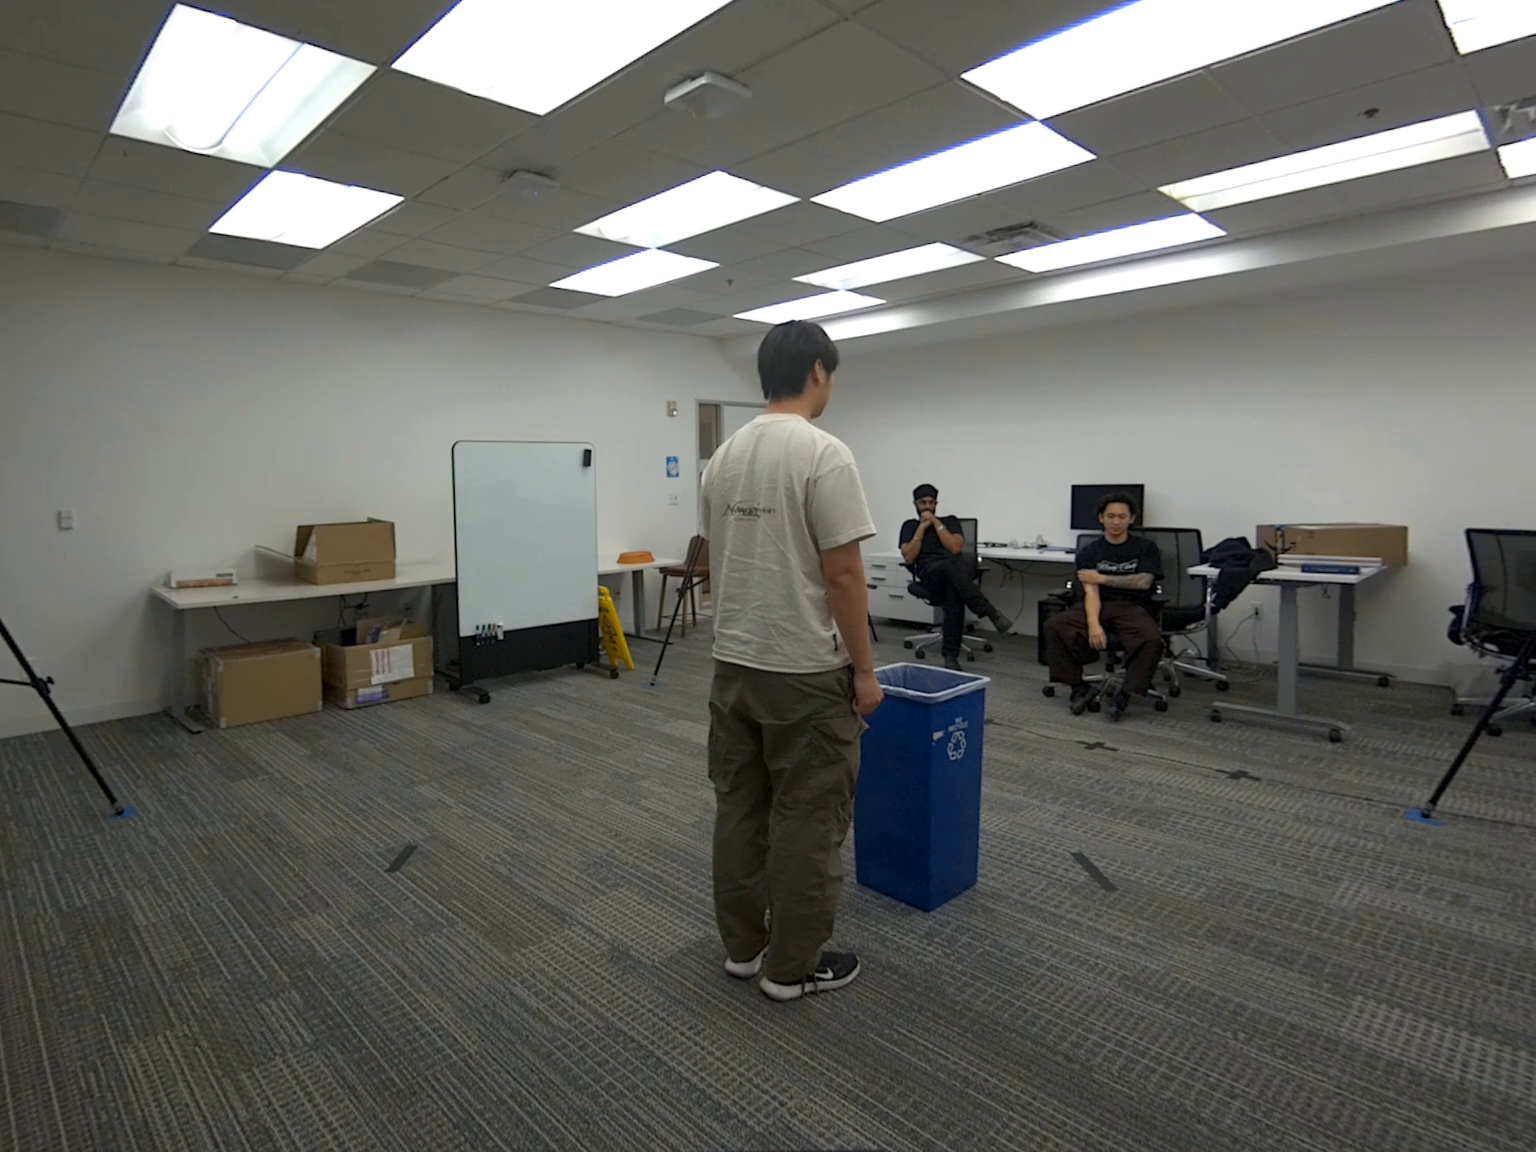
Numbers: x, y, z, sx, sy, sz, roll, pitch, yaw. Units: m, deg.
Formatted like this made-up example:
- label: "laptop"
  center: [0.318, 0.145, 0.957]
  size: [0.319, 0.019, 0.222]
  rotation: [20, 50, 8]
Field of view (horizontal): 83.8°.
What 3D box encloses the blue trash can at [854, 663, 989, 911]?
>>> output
- label: "blue trash can"
  center: [0.513, 0.699, 2.923]
  size: [0.364, 0.711, 0.390]
  rotation: [-5, 6, -44]
